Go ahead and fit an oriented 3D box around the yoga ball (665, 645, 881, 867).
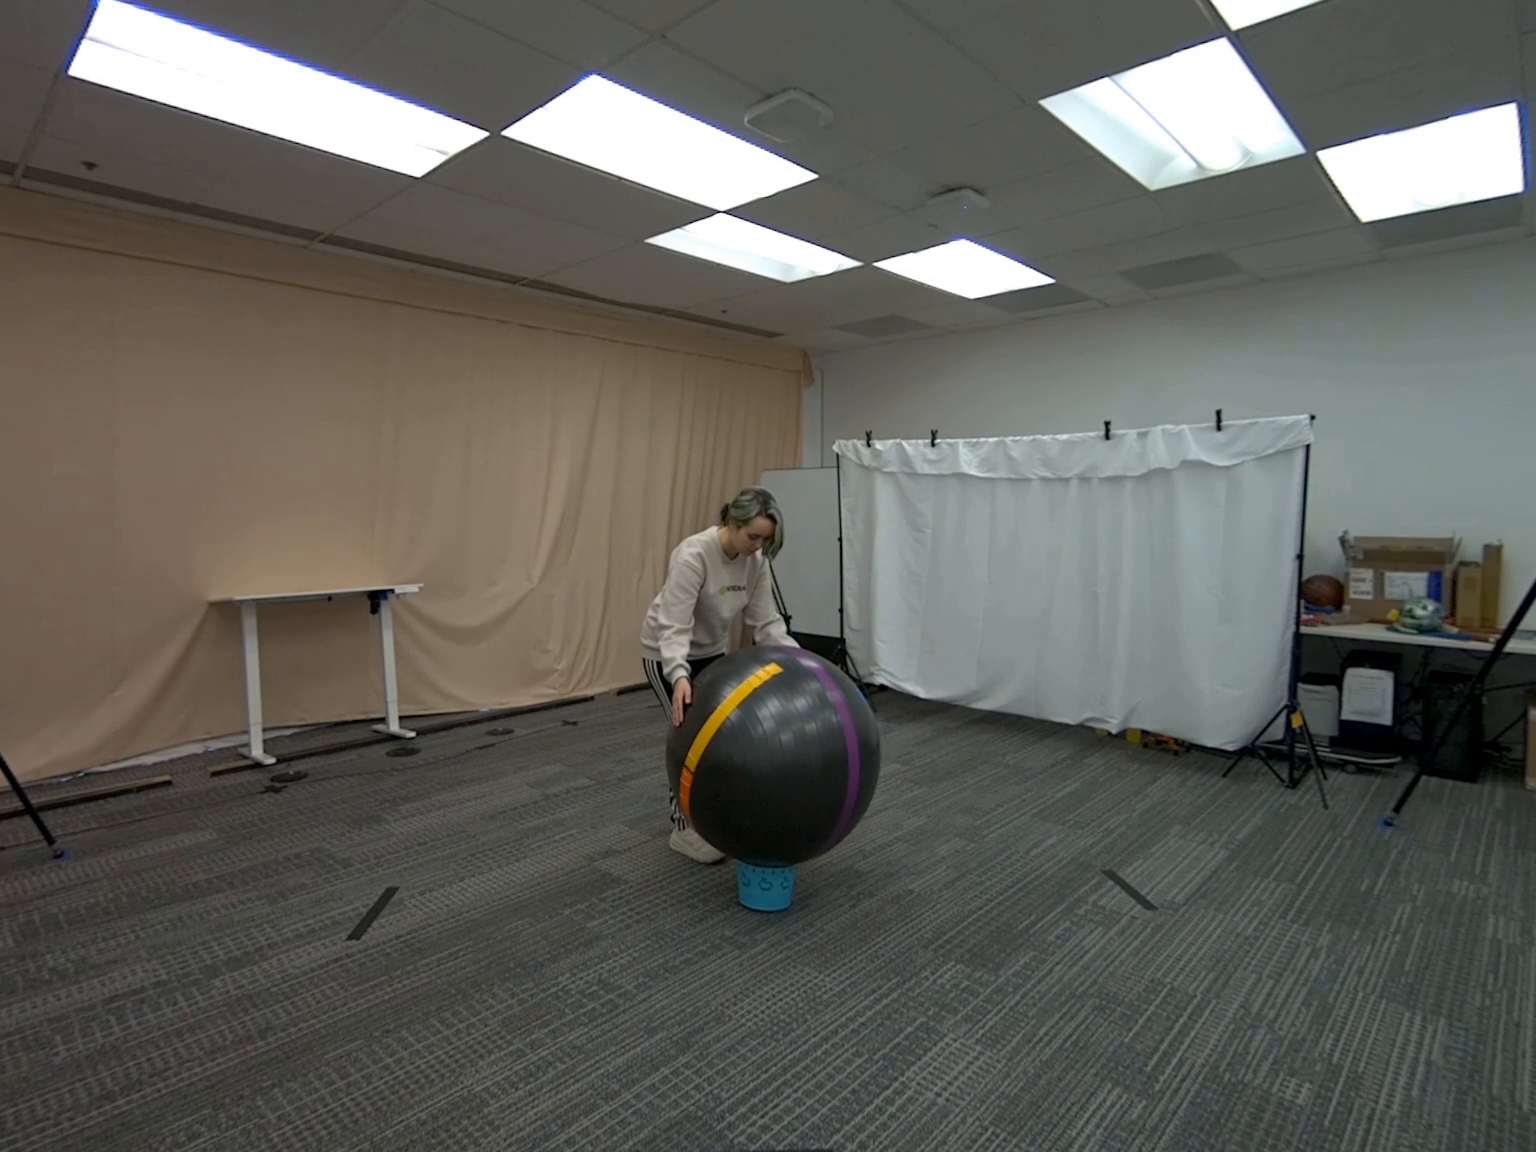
[{"bbox_3d":[0.017,0.631,2.978,0.757,0.756,0.760,0,4,-2],"label":"yoga ball"}]
